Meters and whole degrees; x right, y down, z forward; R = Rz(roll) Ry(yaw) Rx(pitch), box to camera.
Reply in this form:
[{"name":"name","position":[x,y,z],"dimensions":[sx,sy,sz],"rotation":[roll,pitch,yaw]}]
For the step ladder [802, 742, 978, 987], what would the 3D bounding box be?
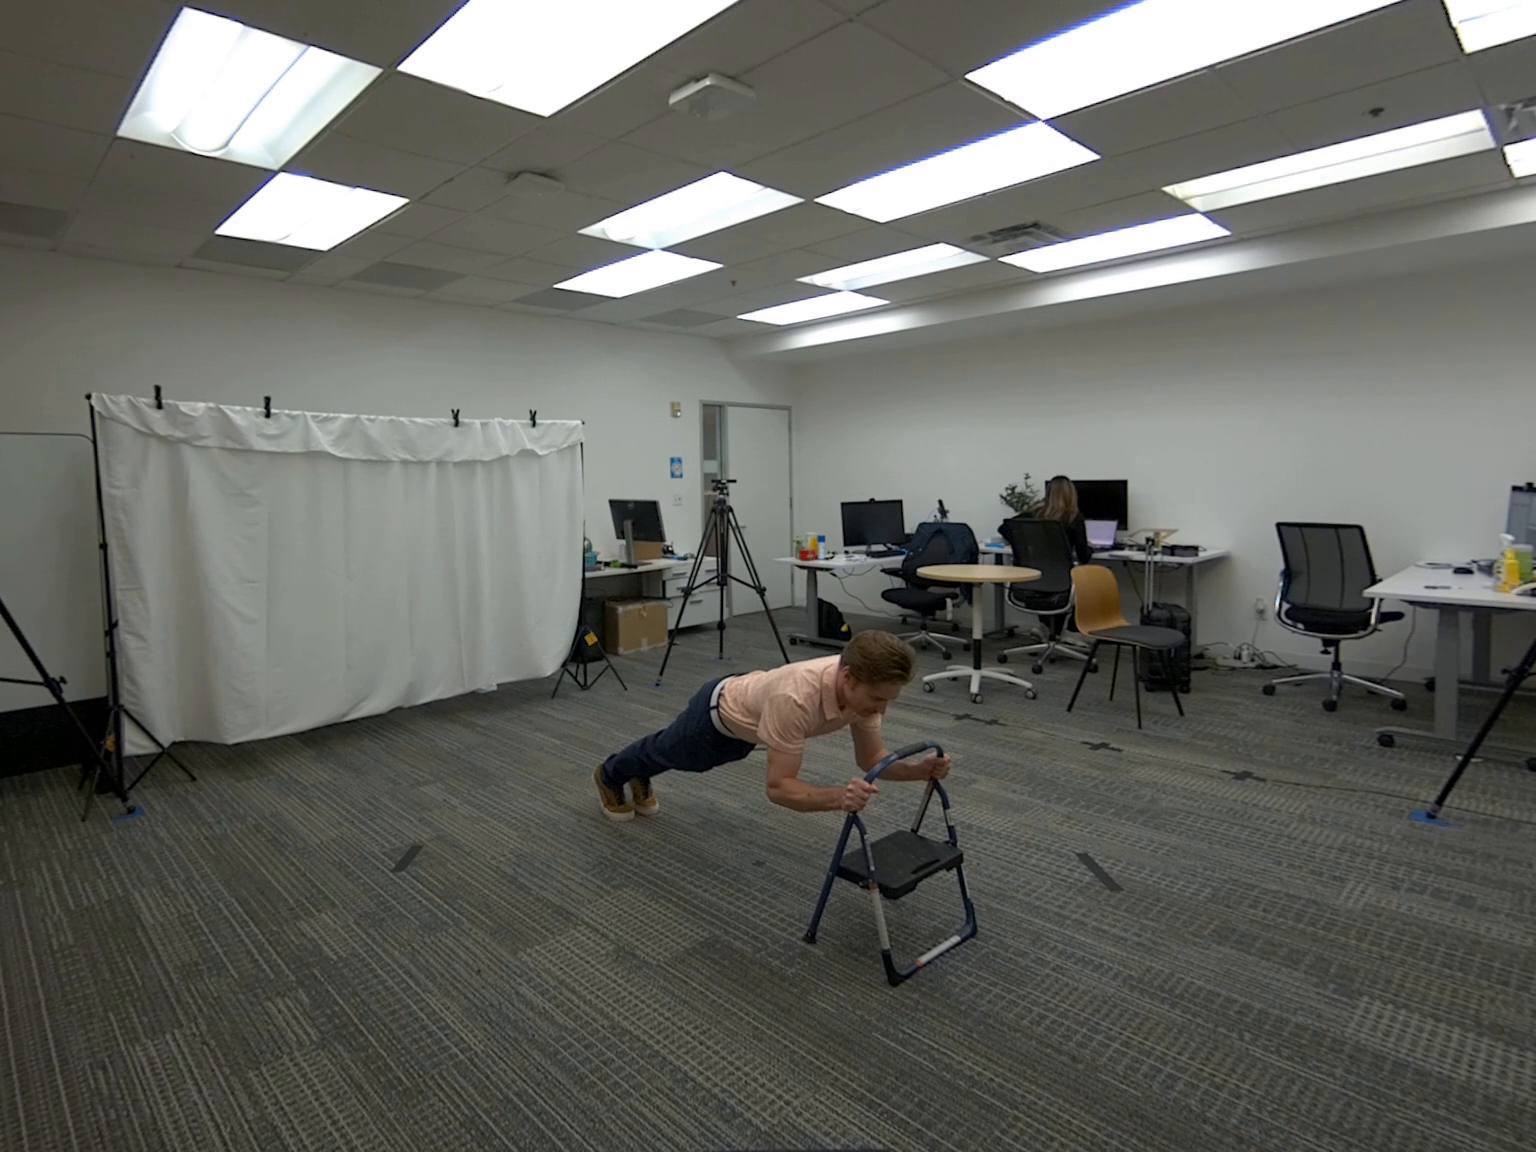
[{"name":"step ladder","position":[0.376,0.800,2.579],"dimensions":[0.419,0.604,0.360],"rotation":[-5,6,-43]}]
